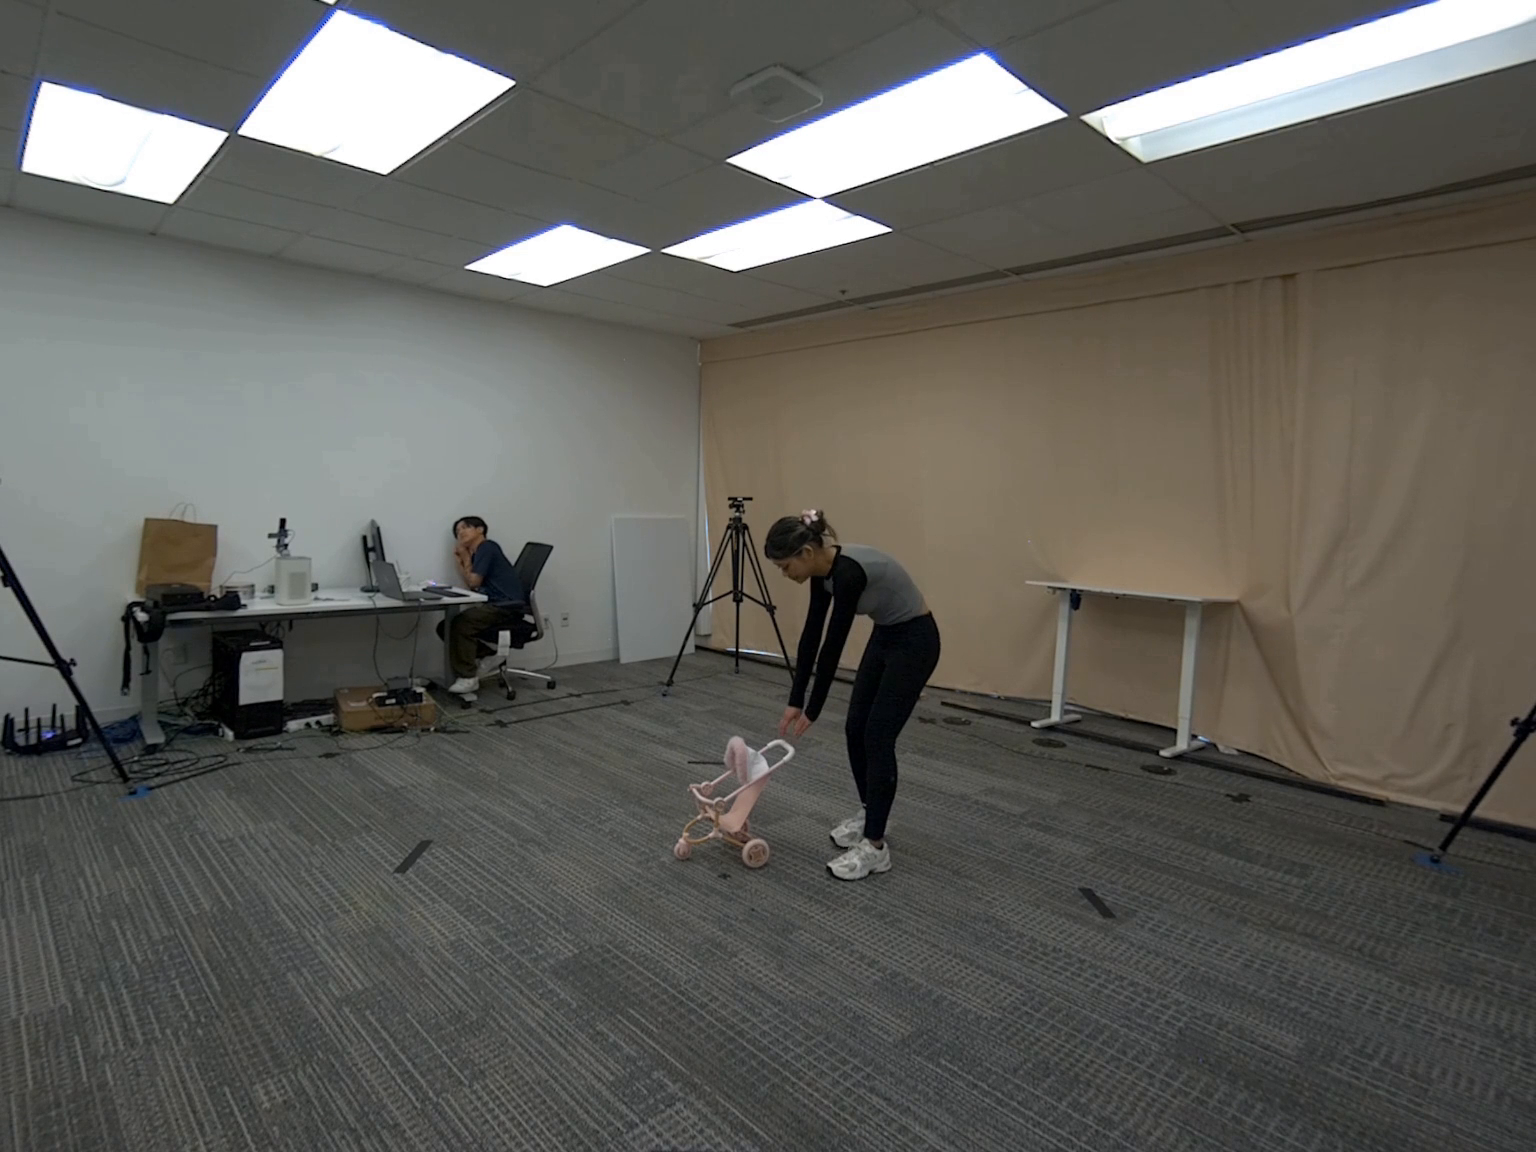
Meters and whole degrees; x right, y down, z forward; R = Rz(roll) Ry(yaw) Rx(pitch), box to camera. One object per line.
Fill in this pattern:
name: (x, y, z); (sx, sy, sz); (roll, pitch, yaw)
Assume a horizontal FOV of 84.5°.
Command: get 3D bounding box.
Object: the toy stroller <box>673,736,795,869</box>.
toy stroller: (-0.151, 0.864, 3.278); (0.337, 0.535, 0.285); (17, -1, -14)
